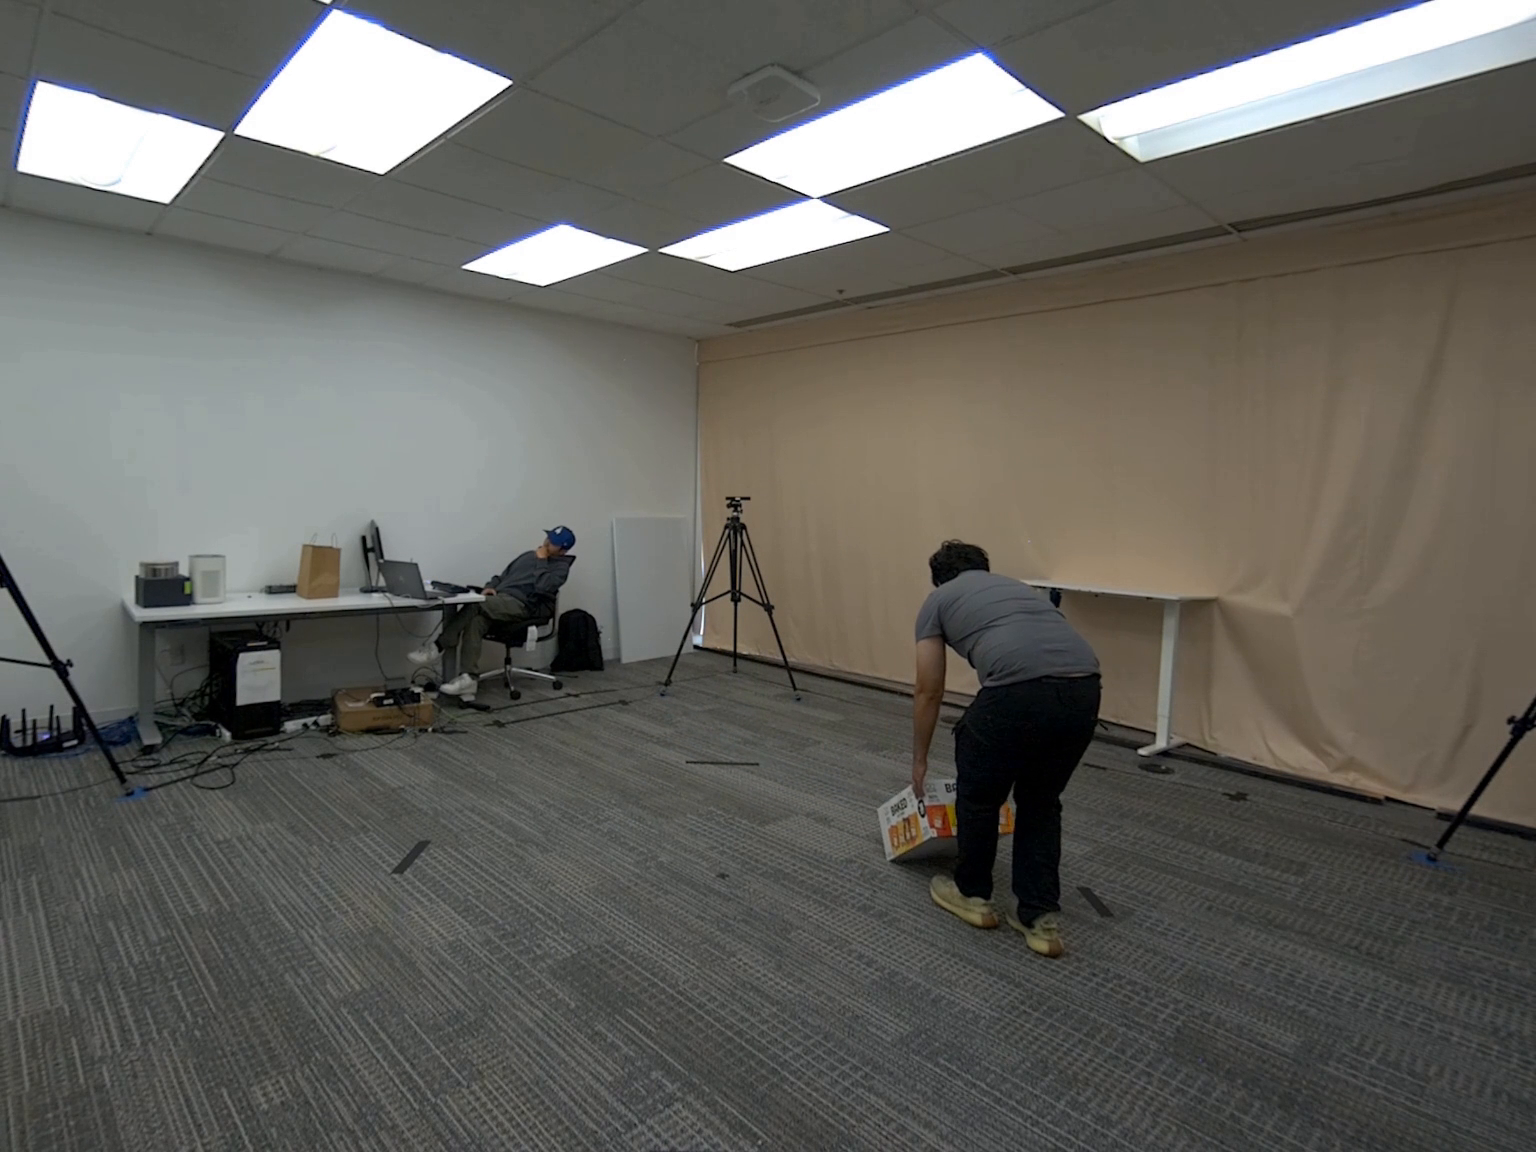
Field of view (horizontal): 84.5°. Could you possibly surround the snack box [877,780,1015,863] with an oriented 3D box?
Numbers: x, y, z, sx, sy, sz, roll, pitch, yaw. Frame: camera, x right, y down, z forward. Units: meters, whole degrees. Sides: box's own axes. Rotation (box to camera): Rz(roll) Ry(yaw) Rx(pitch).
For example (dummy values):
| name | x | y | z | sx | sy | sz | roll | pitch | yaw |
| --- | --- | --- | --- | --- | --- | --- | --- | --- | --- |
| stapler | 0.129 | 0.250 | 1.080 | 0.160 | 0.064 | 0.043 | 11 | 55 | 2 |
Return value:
| name | x | y | z | sx | sy | sz | roll | pitch | yaw |
| --- | --- | --- | --- | --- | --- | --- | --- | --- | --- |
| snack box | 0.658 | 0.923 | 3.185 | 0.336 | 0.210 | 0.401 | 2 | -30 | -15 |
